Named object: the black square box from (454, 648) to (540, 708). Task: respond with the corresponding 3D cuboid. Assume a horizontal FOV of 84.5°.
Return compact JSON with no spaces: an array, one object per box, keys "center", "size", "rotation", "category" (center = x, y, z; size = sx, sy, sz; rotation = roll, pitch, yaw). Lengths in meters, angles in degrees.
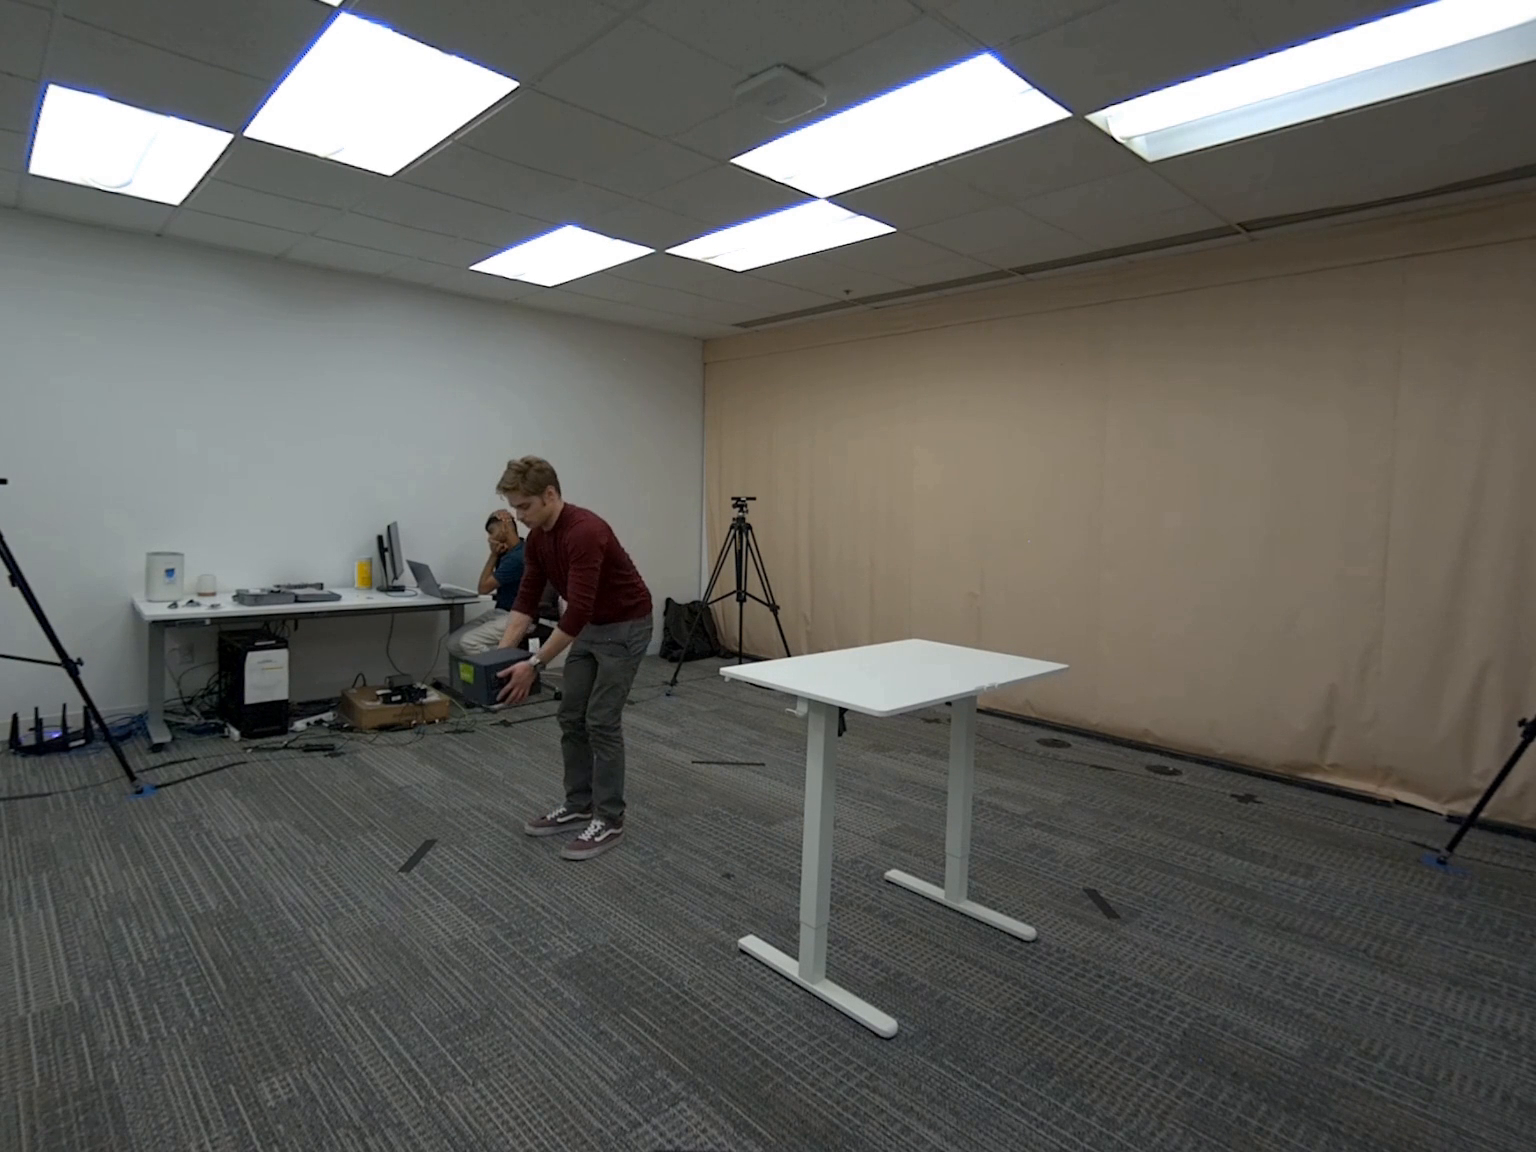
[{"center":[-1.029,0.379,3.178],"size":[0.212,0.155,0.233],"rotation":[-9,9,-41],"category":"black square box"}]
